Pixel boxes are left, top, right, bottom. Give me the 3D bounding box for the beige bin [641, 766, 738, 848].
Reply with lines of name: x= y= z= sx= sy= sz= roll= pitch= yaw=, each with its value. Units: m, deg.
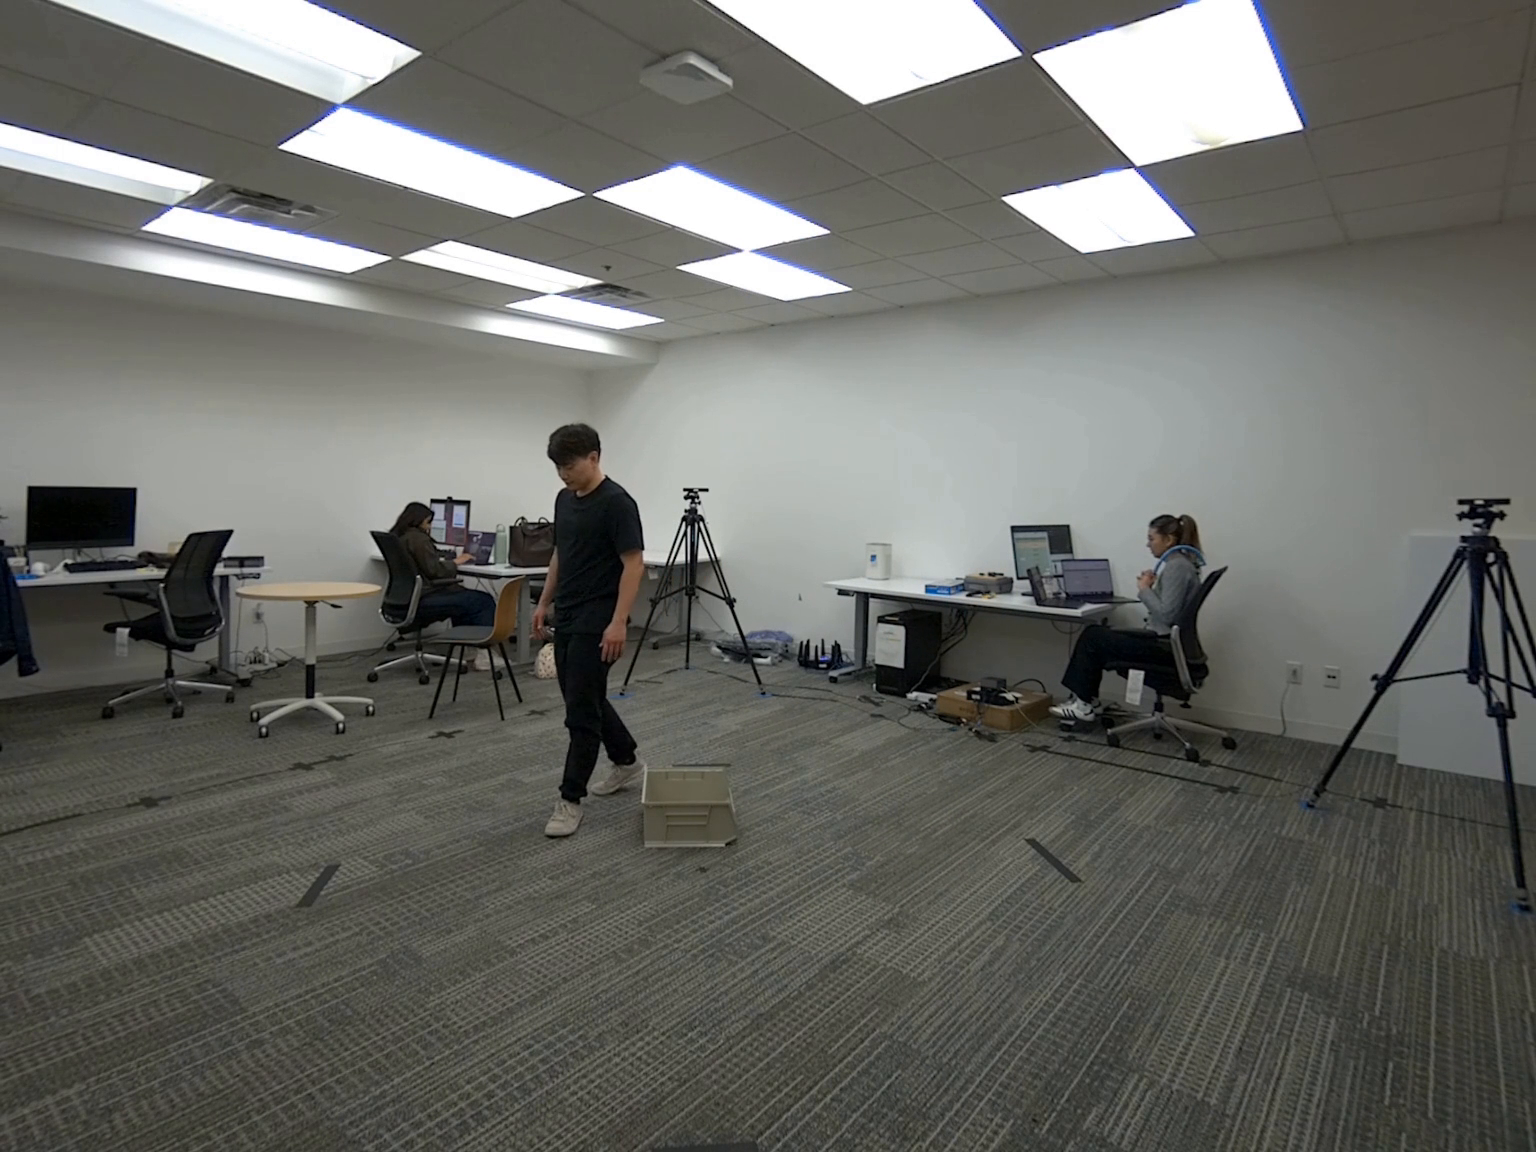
beige bin: x=-0.330 y=0.960 z=3.504 sx=0.376 sy=0.188 sz=0.426 roll=-3 pitch=6 yaw=-5
